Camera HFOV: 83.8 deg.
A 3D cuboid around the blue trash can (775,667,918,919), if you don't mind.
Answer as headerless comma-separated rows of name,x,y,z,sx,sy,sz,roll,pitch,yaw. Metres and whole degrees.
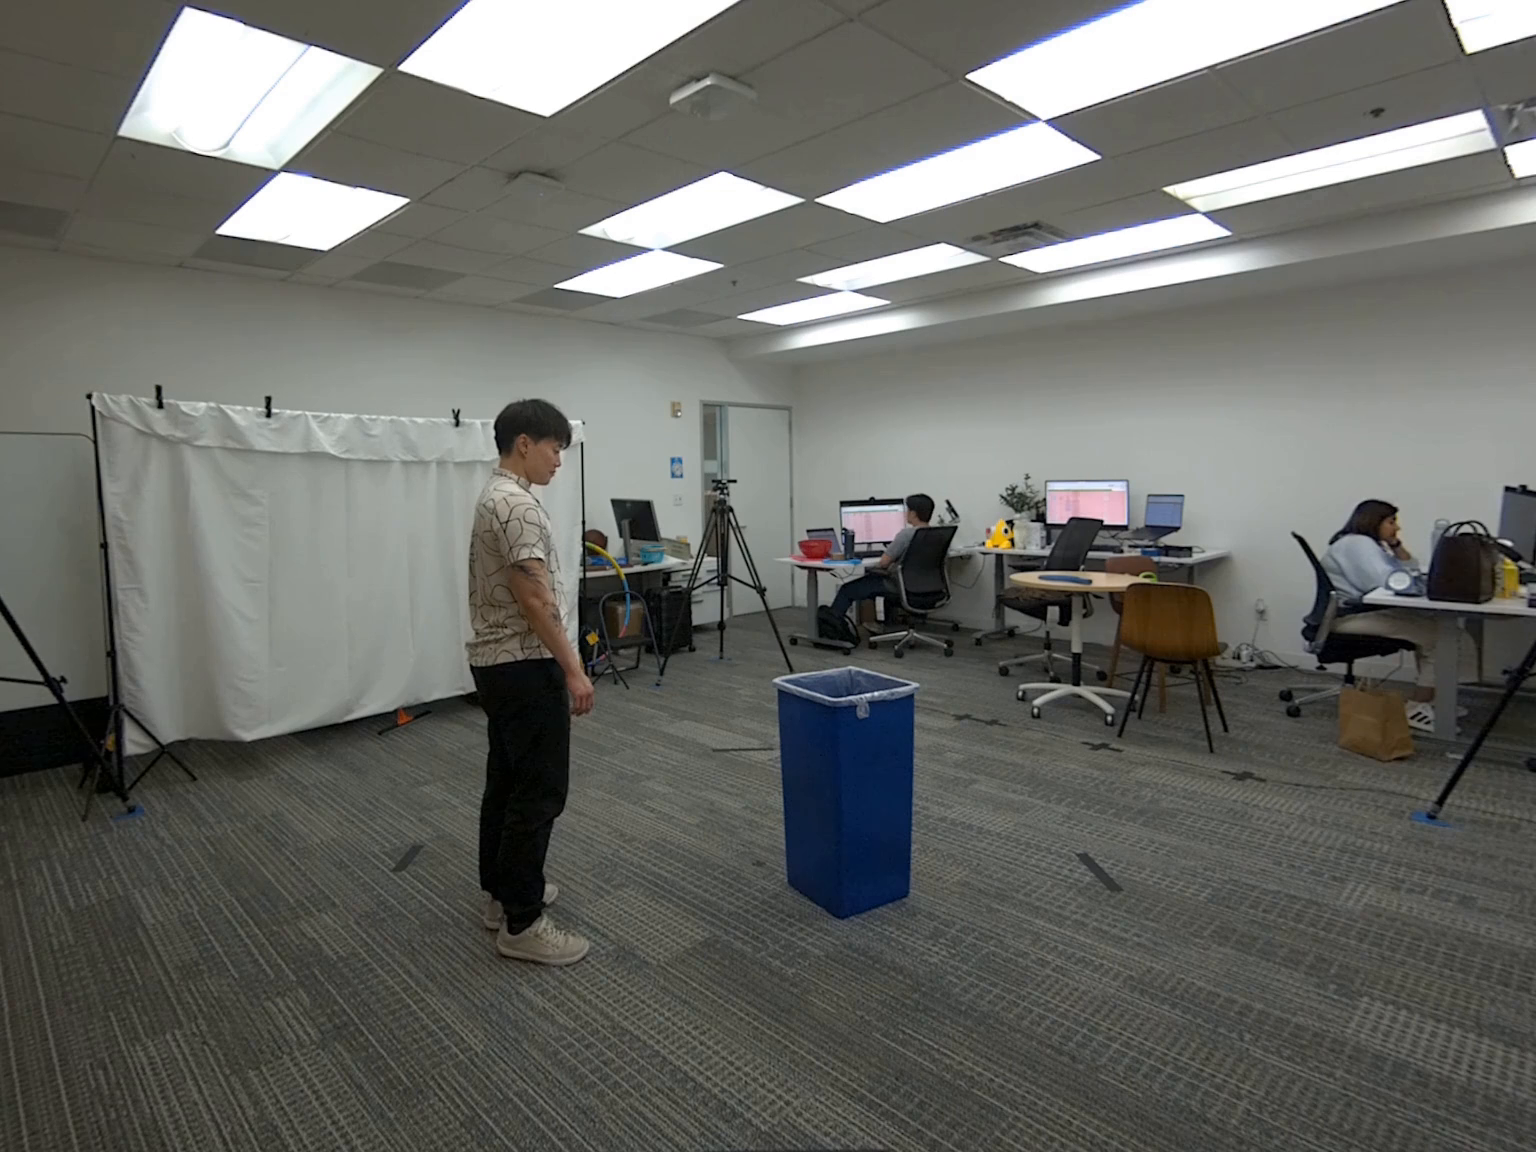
blue trash can,0.263,0.710,2.893,0.369,0.711,0.384,-2,4,-32
